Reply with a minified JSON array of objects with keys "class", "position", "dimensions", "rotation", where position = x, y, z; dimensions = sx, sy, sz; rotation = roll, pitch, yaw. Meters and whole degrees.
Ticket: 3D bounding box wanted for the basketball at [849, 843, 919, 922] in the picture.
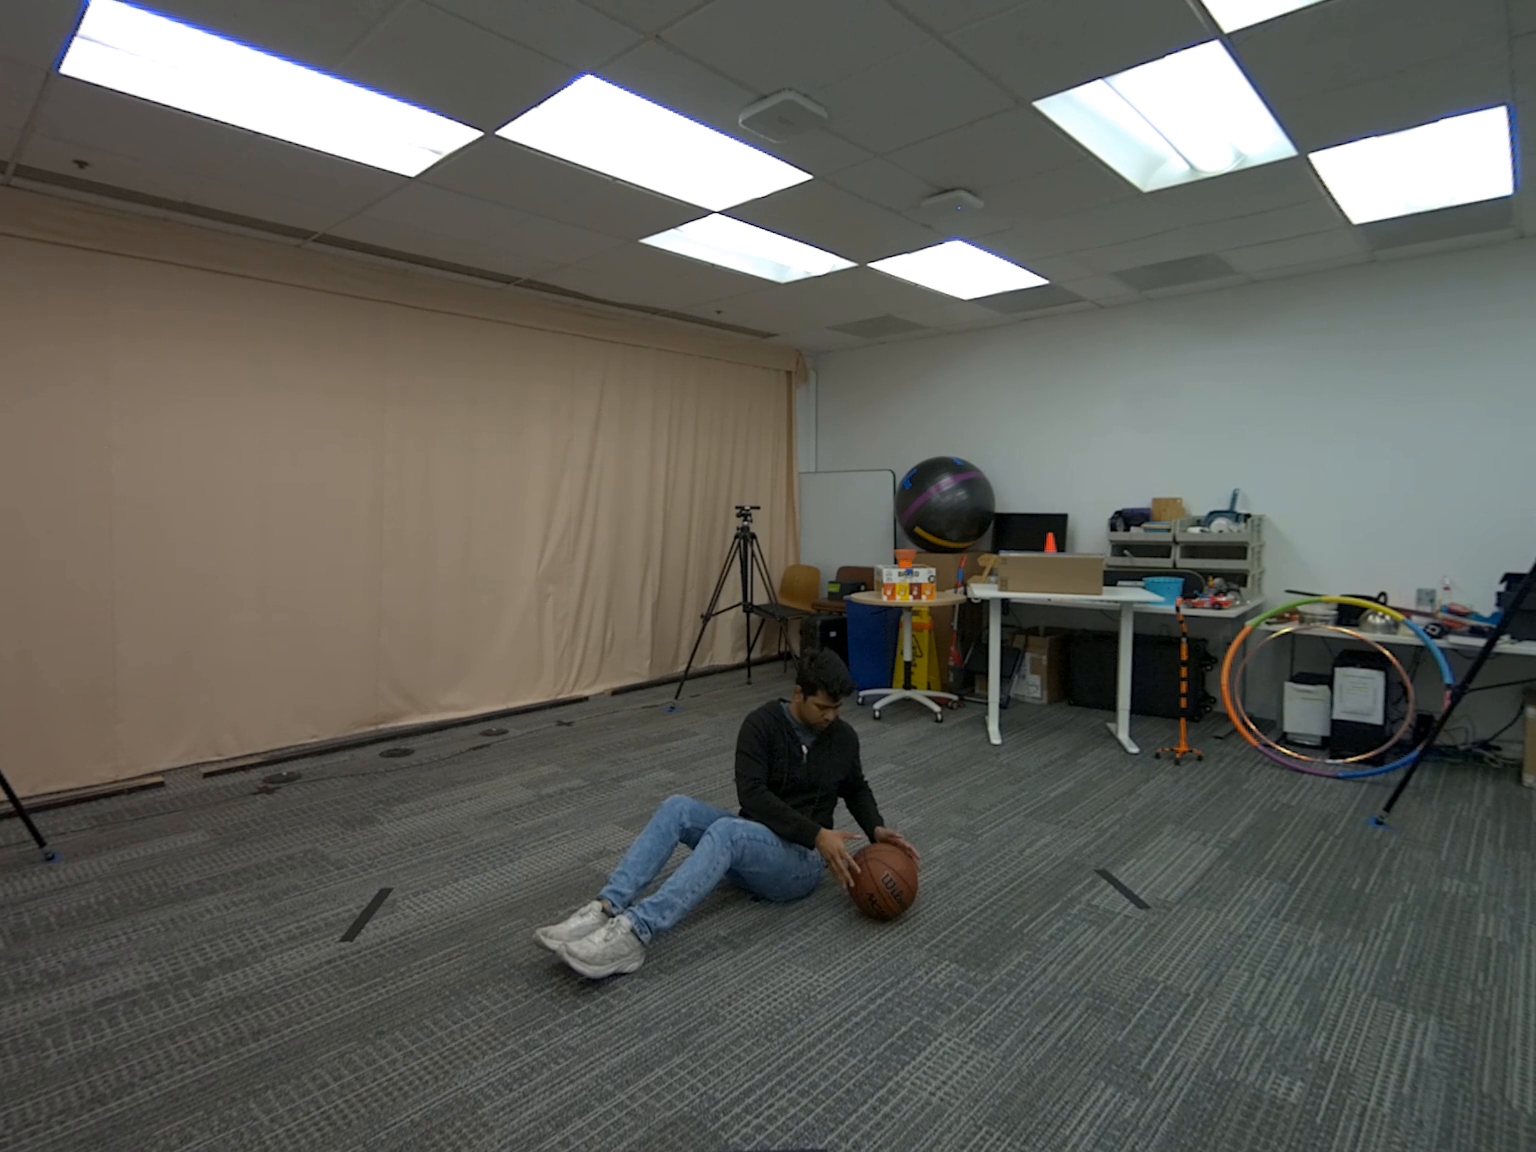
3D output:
[{"class":"basketball","position":[0.389,1.029,2.854],"dimensions":[0.236,0.235,0.237],"rotation":[0,4,-2]}]
